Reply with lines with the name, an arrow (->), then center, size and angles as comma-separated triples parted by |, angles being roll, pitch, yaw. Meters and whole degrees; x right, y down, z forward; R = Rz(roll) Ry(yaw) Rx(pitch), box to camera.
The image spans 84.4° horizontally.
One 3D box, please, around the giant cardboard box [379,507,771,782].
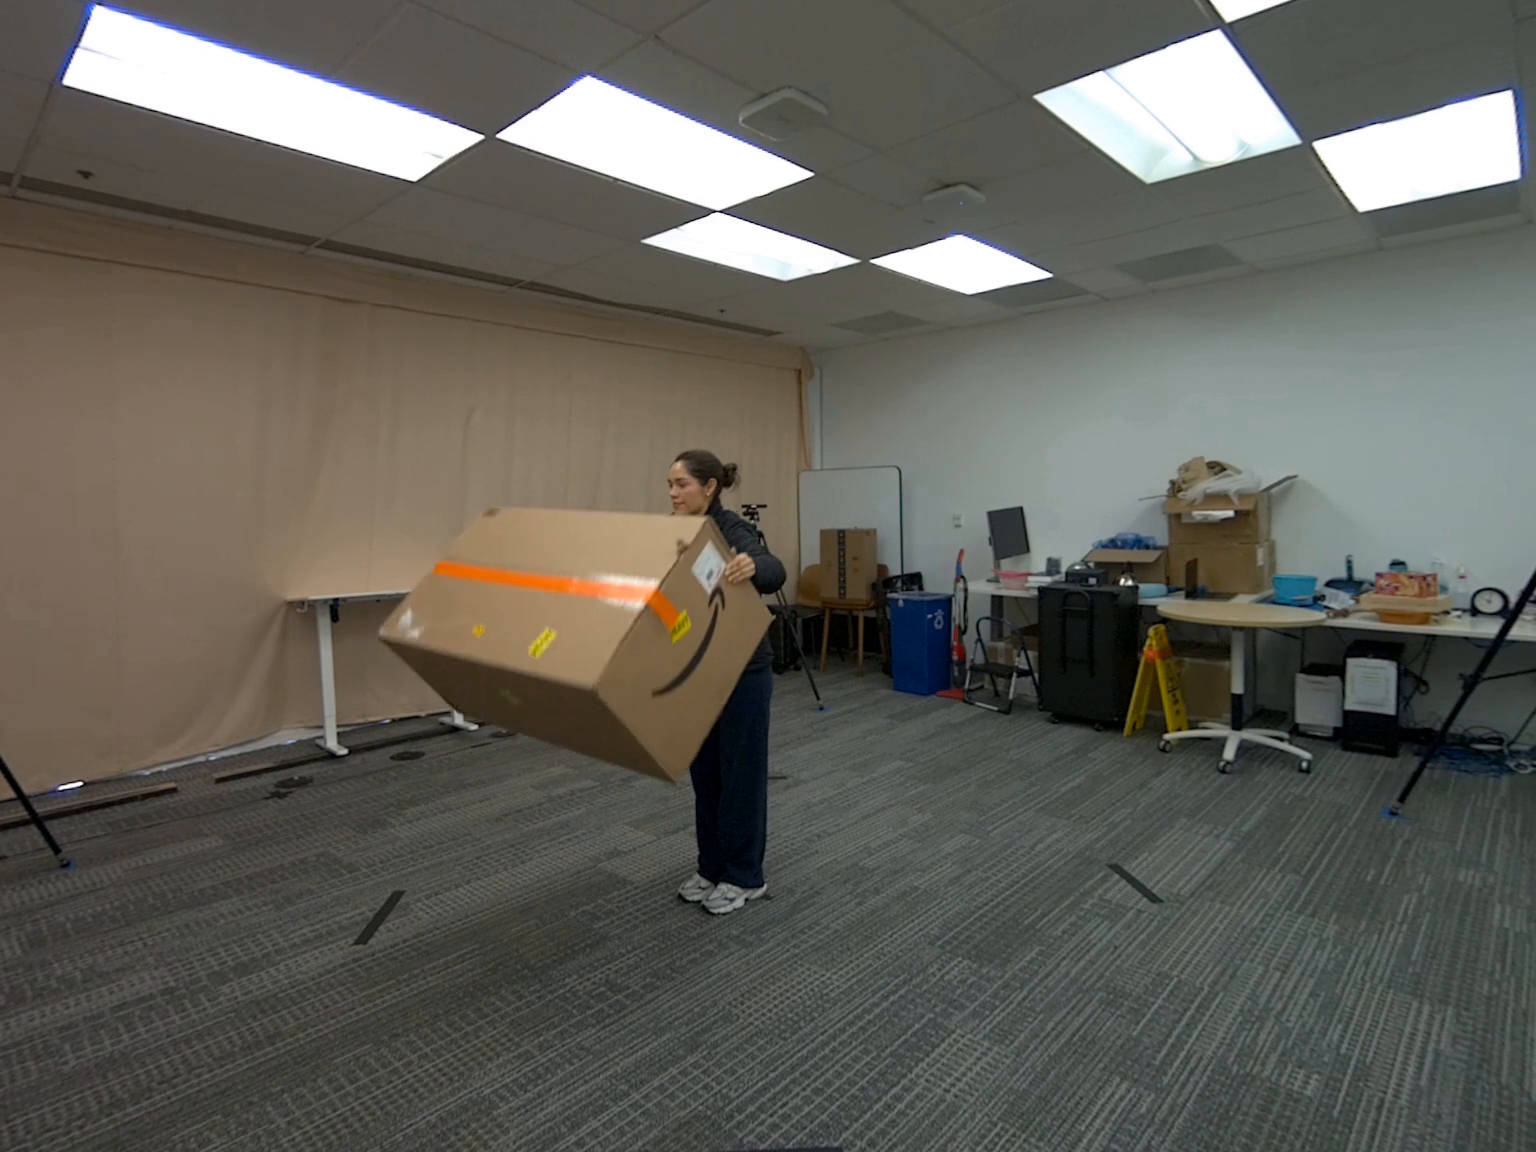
giant cardboard box -> -0.572, 0.150, 2.548 | 1.061, 0.433, 0.582 | 5, 49, 40
